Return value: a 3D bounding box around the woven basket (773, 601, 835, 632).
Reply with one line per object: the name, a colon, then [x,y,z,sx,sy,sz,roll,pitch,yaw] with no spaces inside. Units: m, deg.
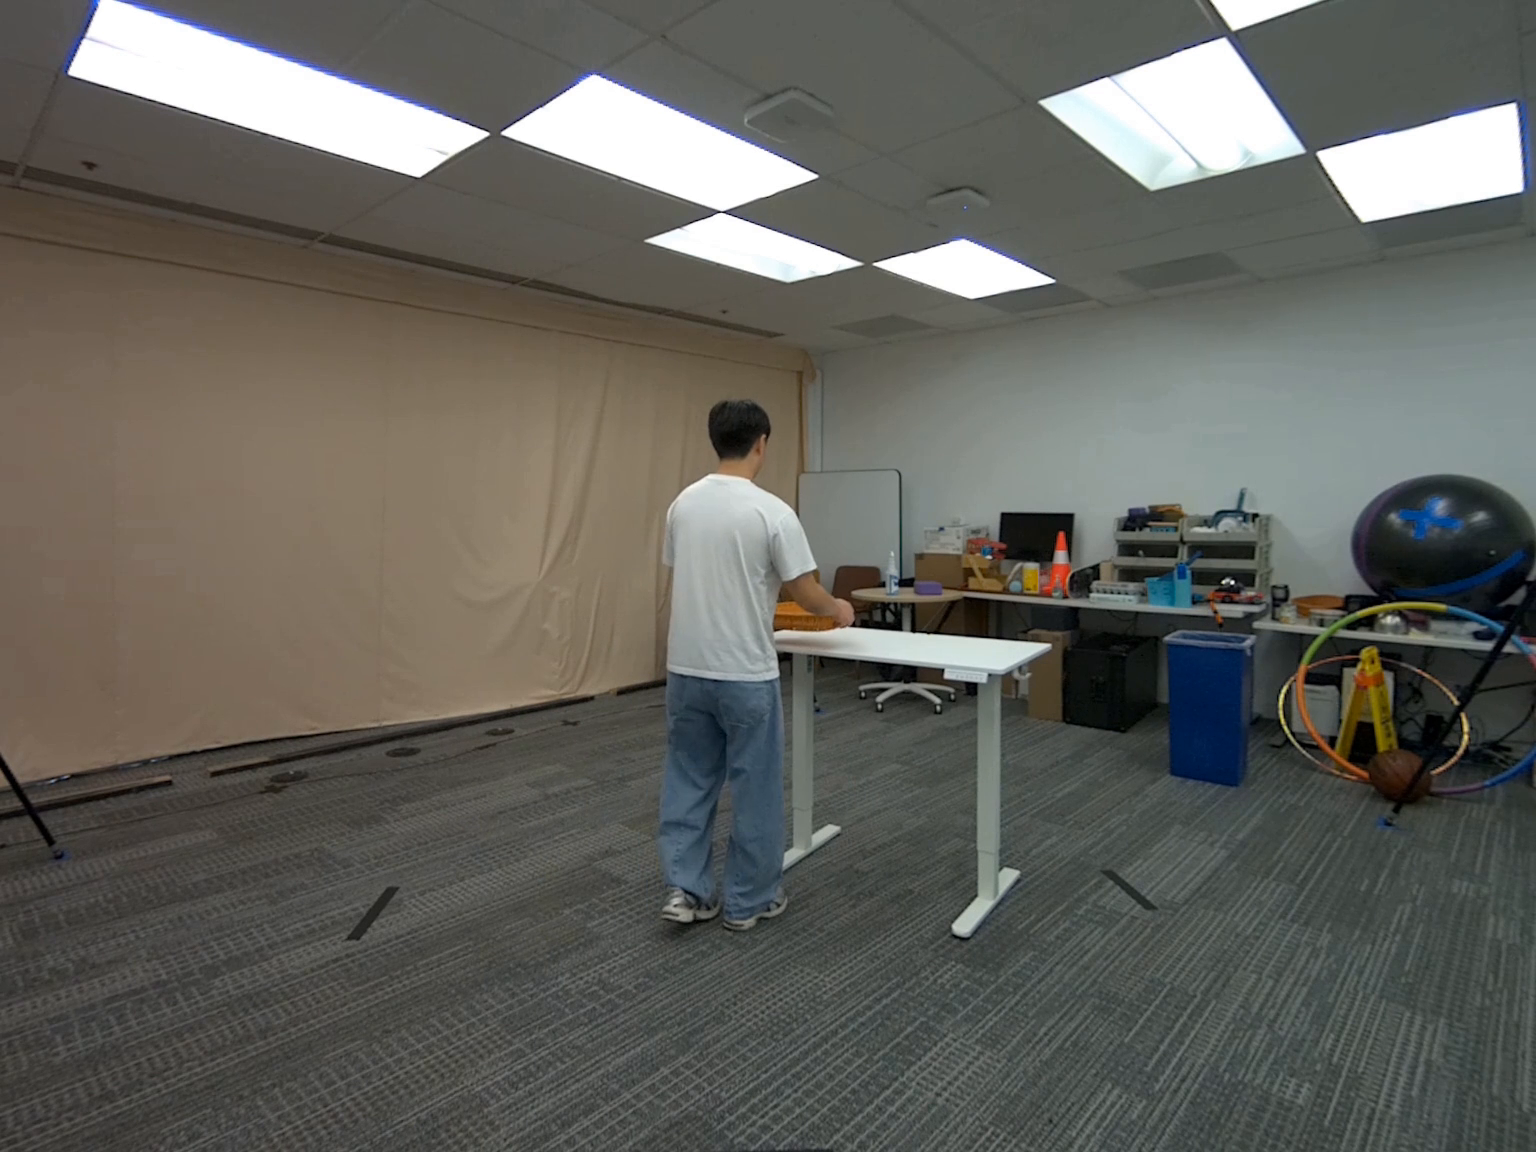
woven basket: [0.132,0.160,3.088,0.362,0.073,0.245,2,7,44]
